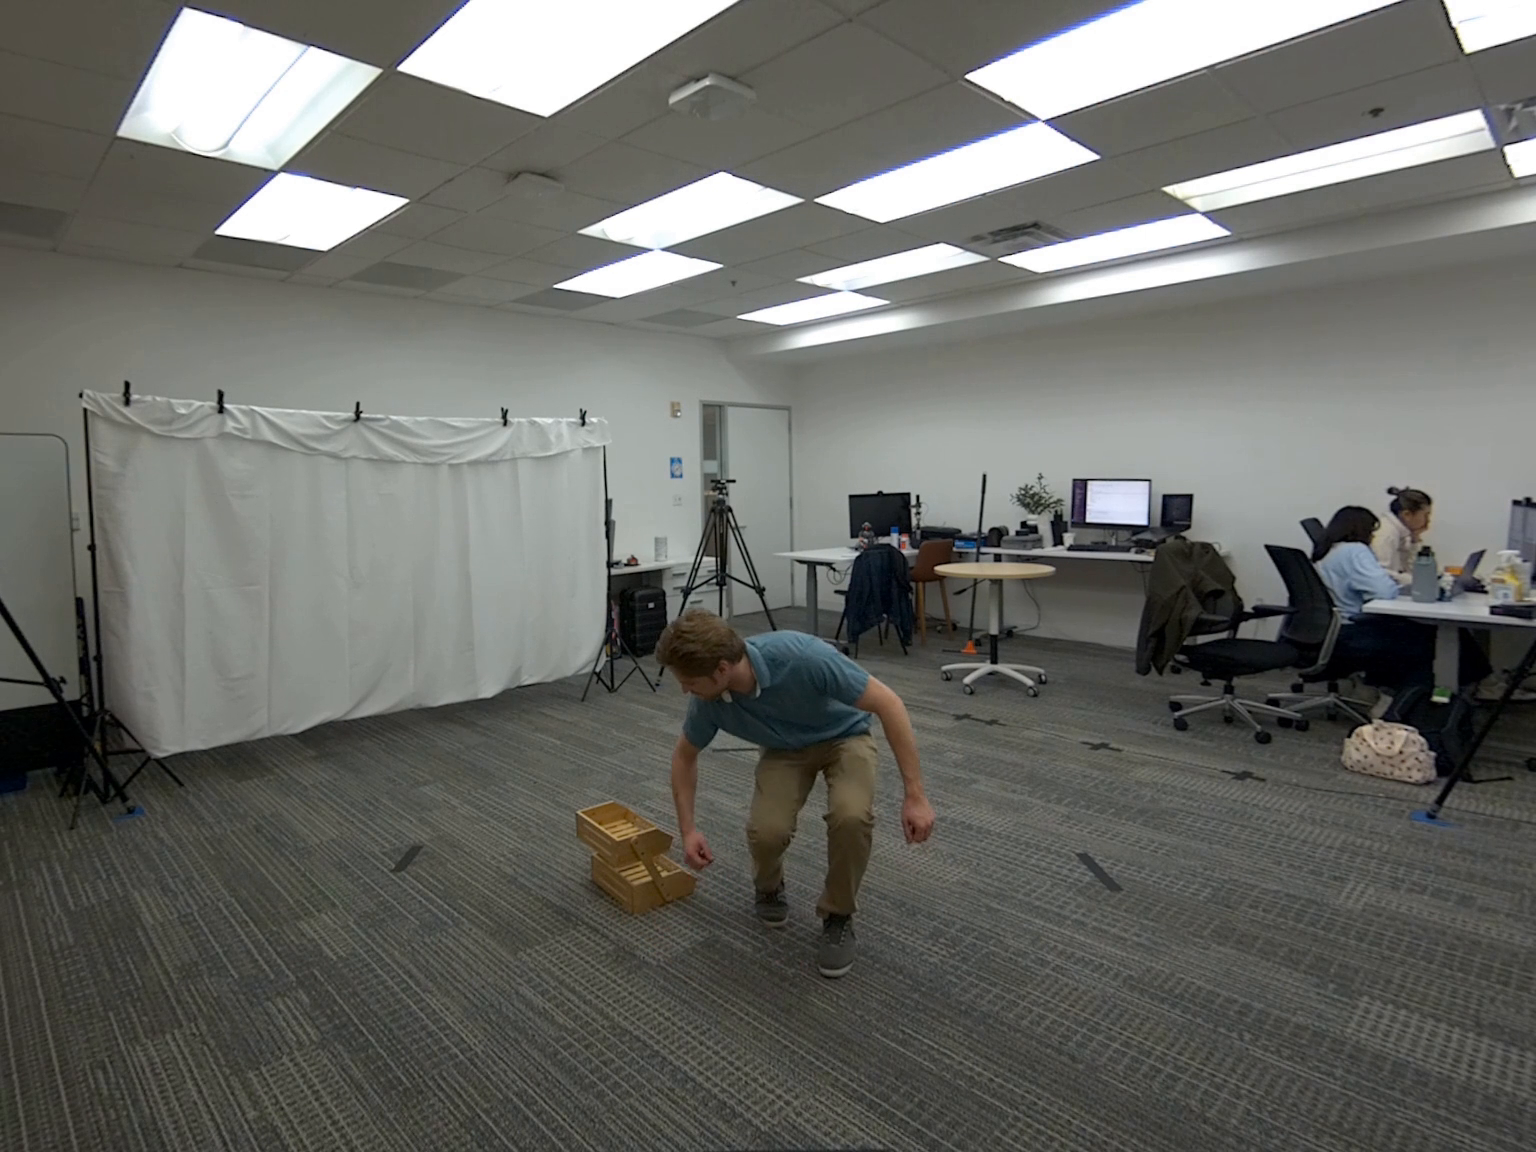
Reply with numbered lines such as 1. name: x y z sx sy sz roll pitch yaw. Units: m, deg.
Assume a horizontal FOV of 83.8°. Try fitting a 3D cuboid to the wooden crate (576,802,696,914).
1. wooden crate: -0.451 0.942 2.933 0.294 0.272 0.334 -6 8 -37
